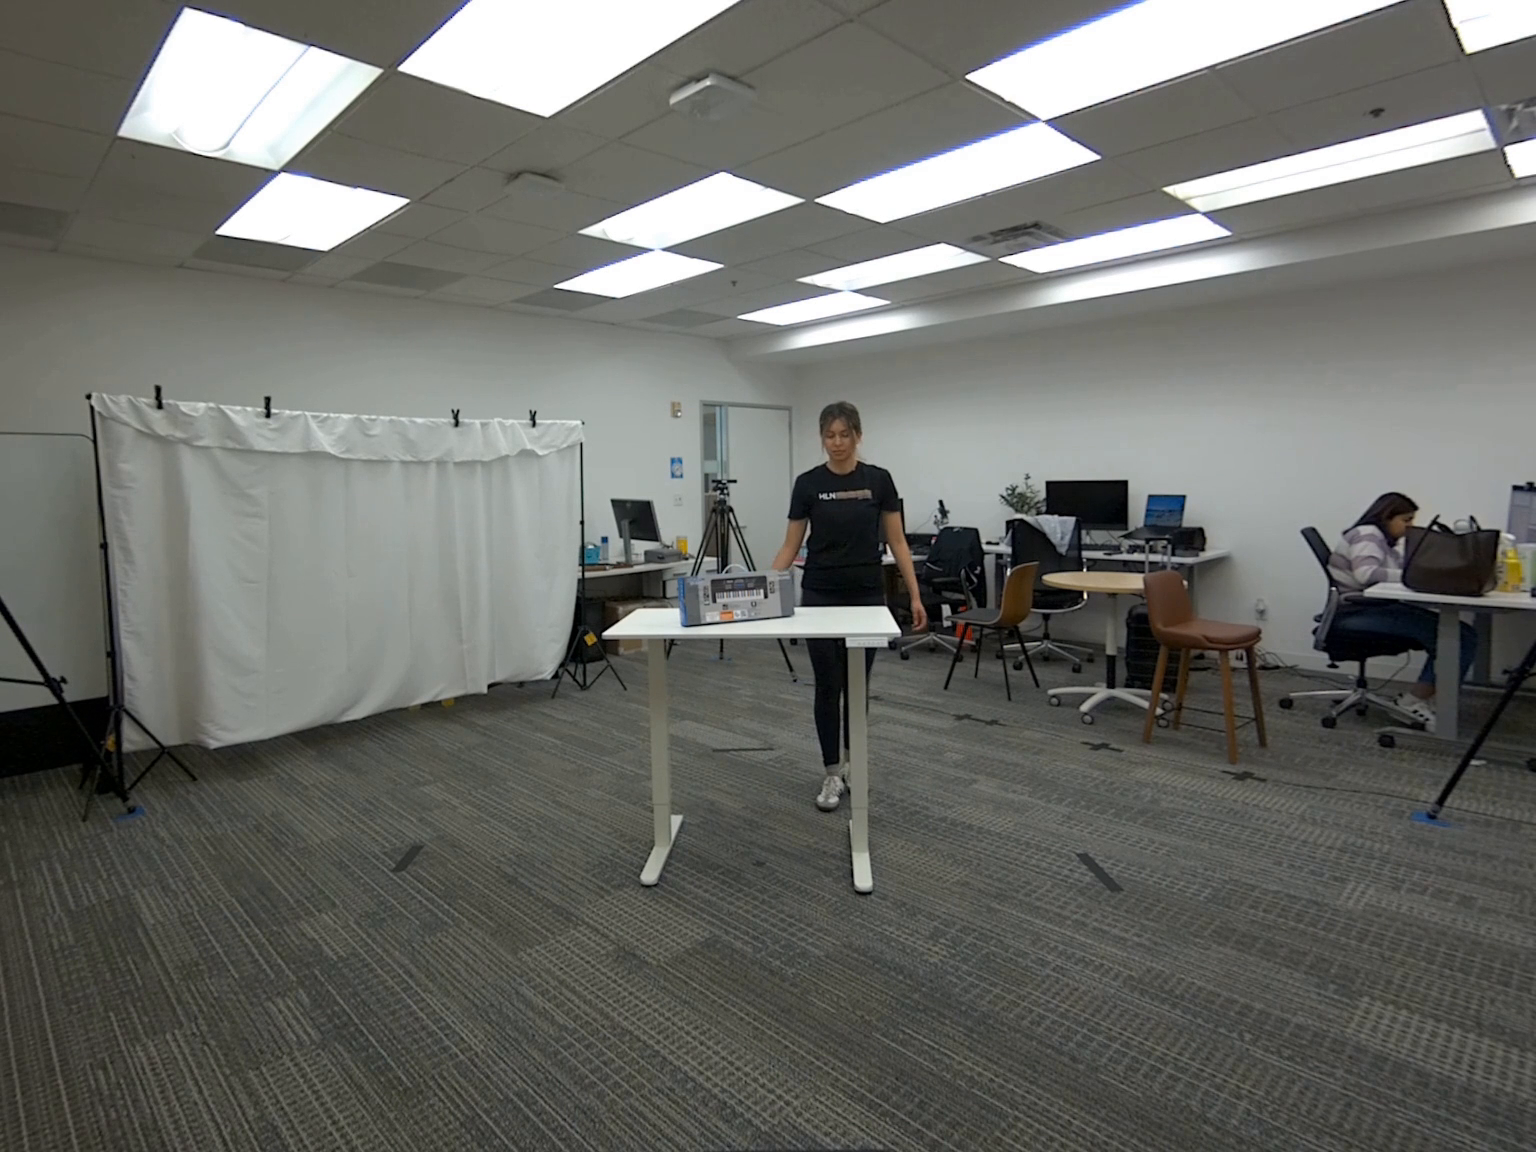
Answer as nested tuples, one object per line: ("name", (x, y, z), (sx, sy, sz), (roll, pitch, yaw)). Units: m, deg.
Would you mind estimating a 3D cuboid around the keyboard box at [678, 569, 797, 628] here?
("keyboard box", (-0.109, 0.078, 3.115), (0.427, 0.176, 0.060), (-4, -2, -26))
